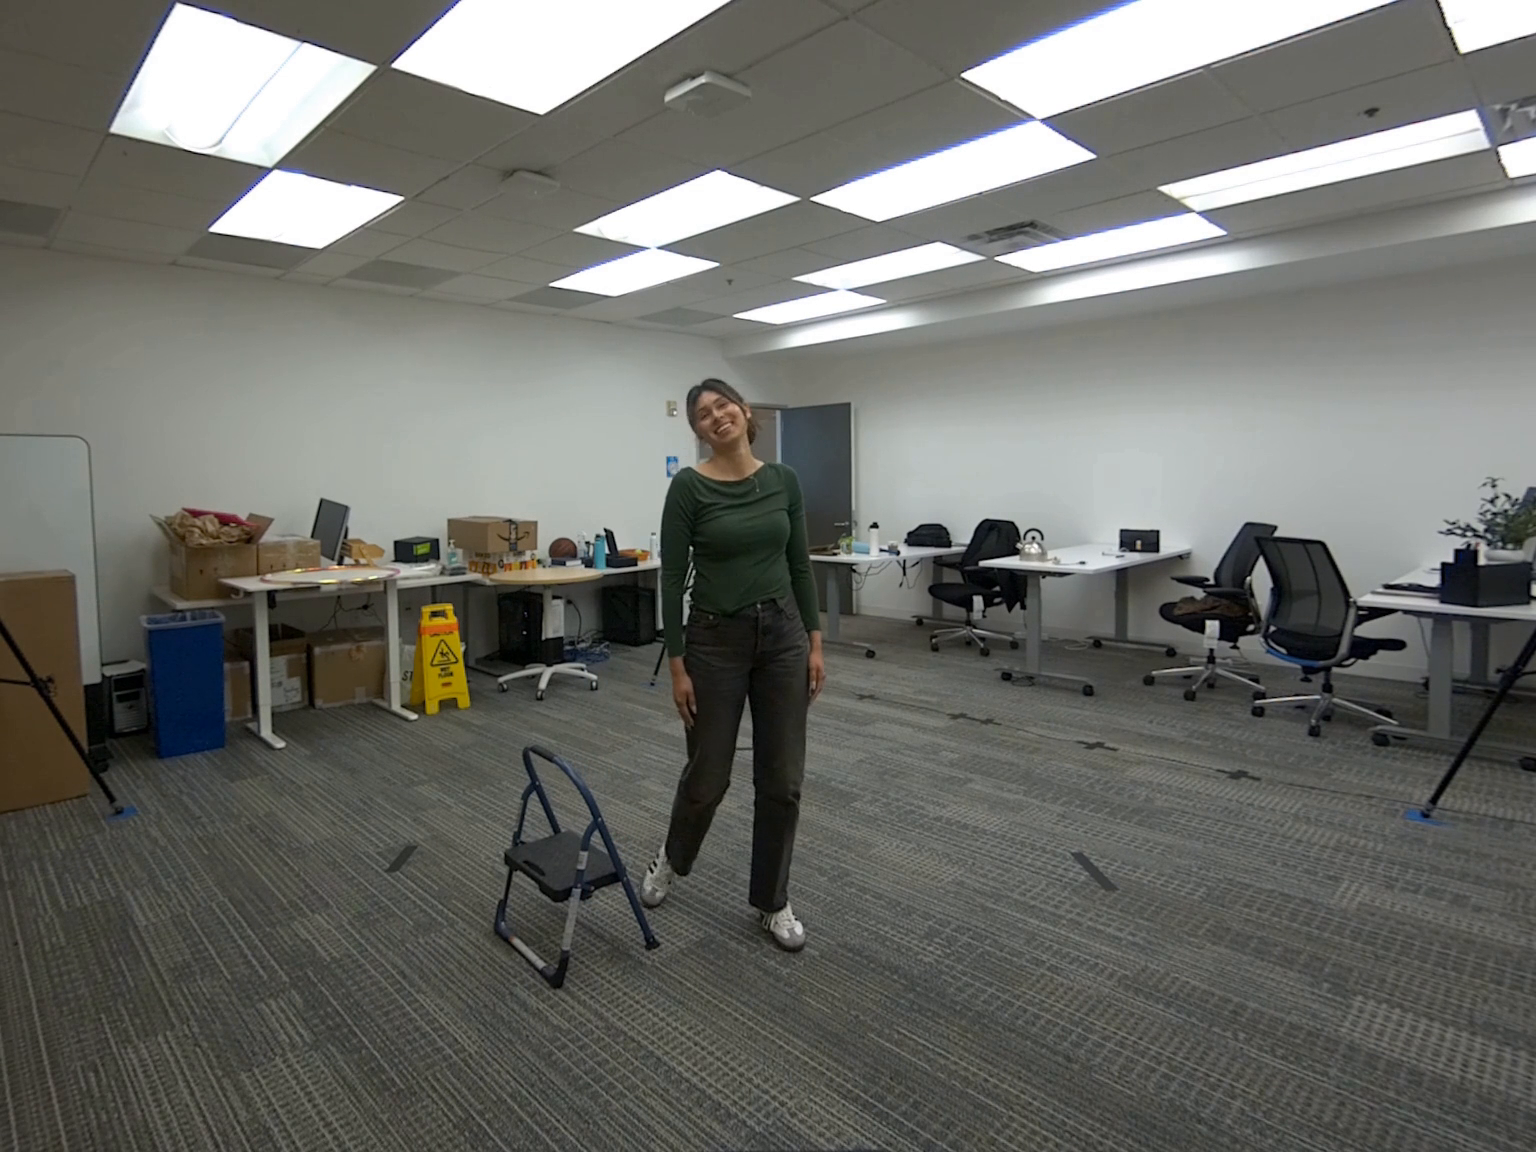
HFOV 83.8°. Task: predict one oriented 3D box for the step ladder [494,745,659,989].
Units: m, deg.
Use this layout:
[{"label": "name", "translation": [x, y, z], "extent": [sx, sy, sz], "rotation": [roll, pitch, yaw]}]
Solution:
[{"label": "step ladder", "translation": [-0.598, 0.811, 2.604], "extent": [0.340, 0.604, 0.444], "rotation": [-5, 5, -41]}]
